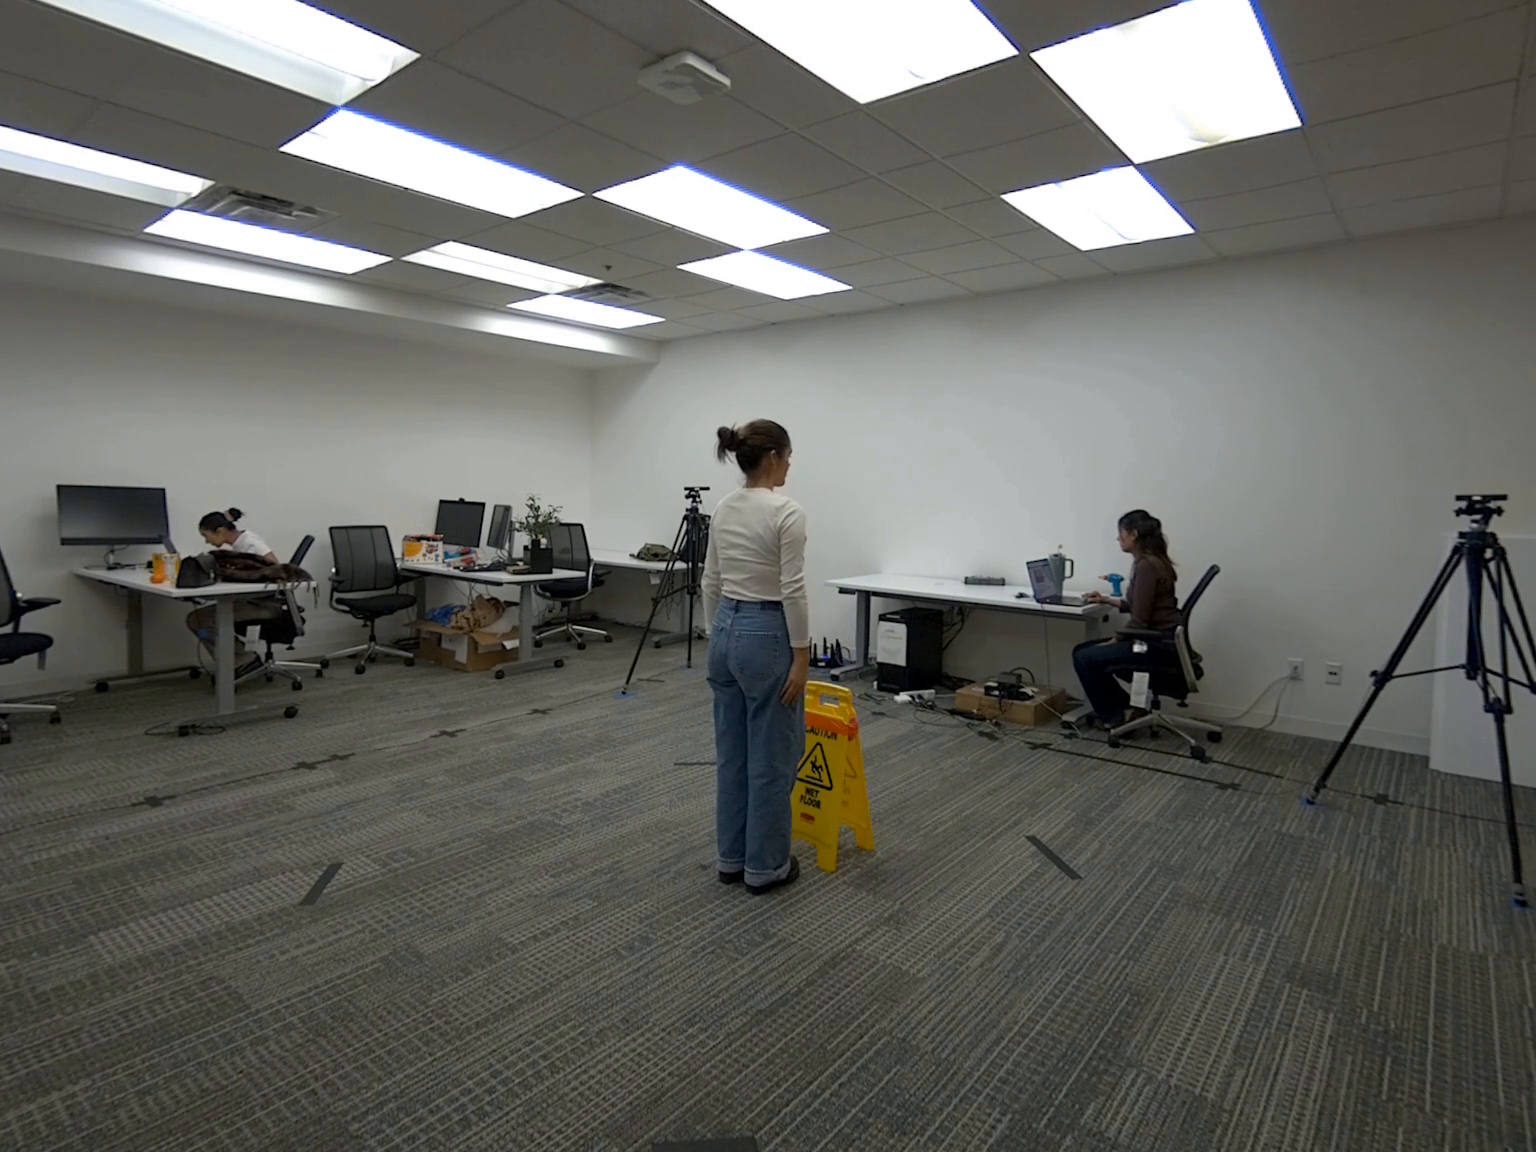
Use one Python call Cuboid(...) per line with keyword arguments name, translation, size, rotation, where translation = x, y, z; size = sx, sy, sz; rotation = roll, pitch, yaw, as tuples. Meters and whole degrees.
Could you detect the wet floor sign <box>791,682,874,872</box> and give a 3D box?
Cuboid(name="wet floor sign", translation=(0.216, 0.732, 3.270), size=(0.292, 0.644, 0.281), rotation=(5, 4, 41))
